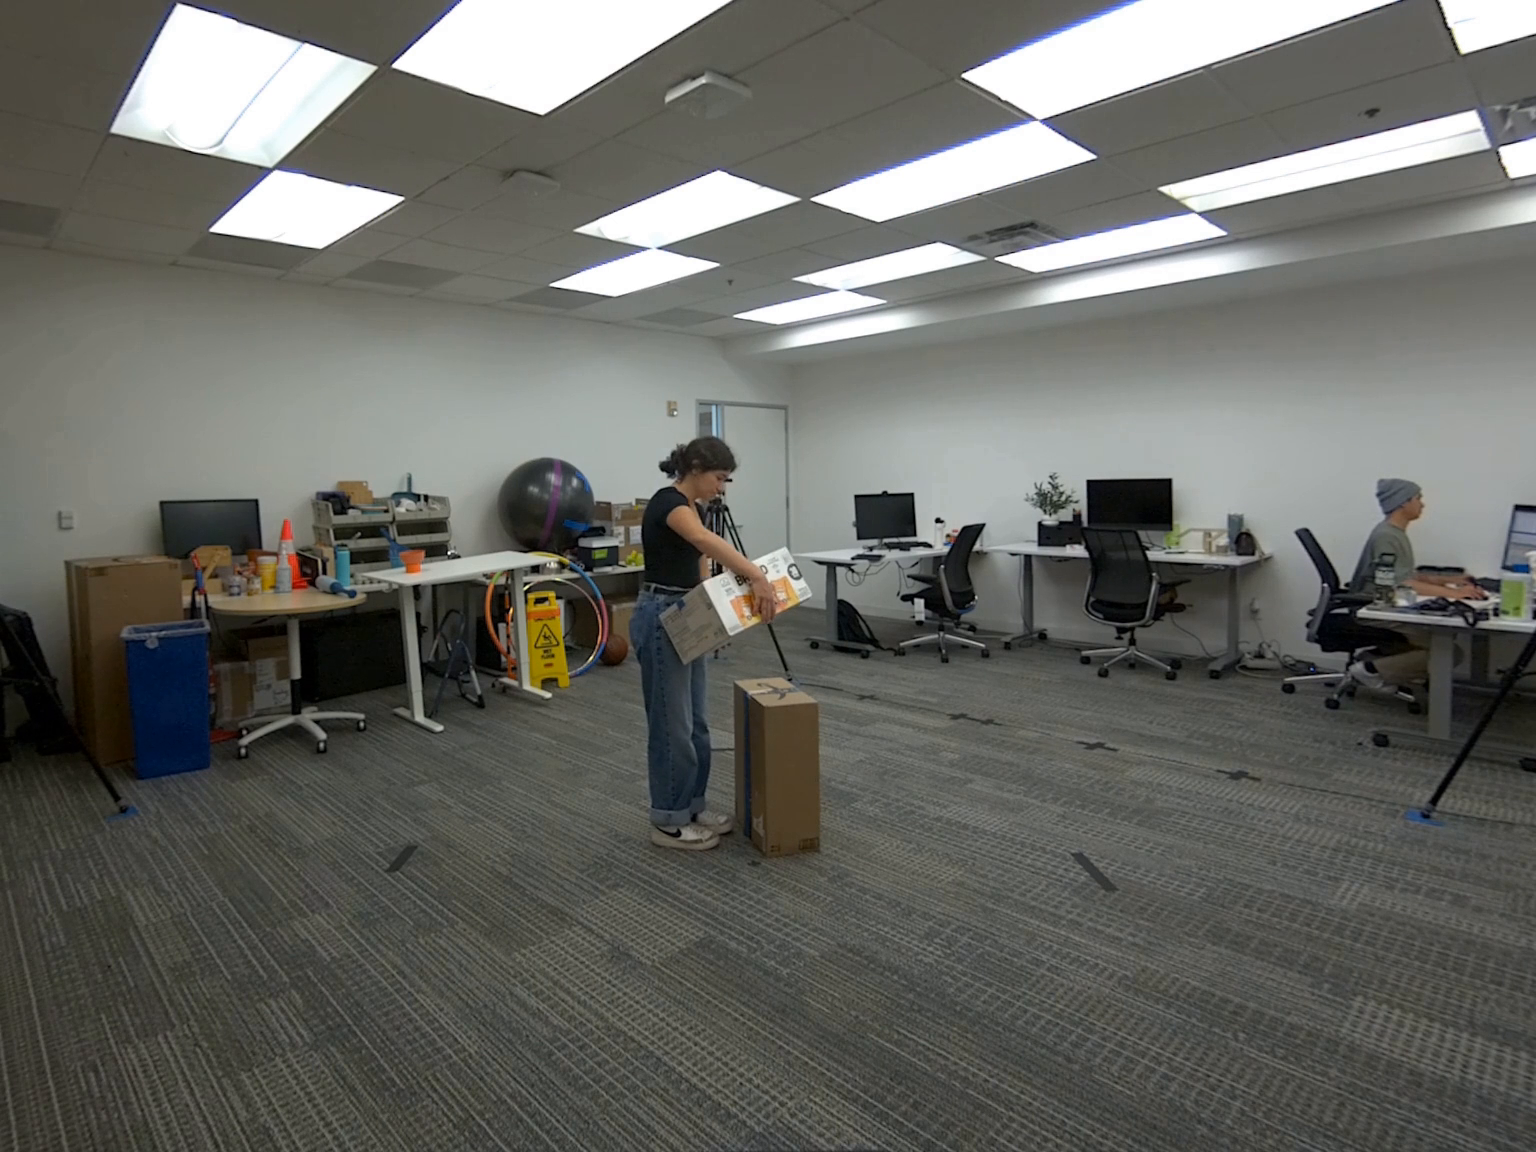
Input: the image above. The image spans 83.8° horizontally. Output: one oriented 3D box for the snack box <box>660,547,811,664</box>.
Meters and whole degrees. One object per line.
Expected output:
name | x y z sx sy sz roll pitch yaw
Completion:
snack box | -0.113 0.108 3.058 0.399 0.208 0.342 -24 -8 -39
